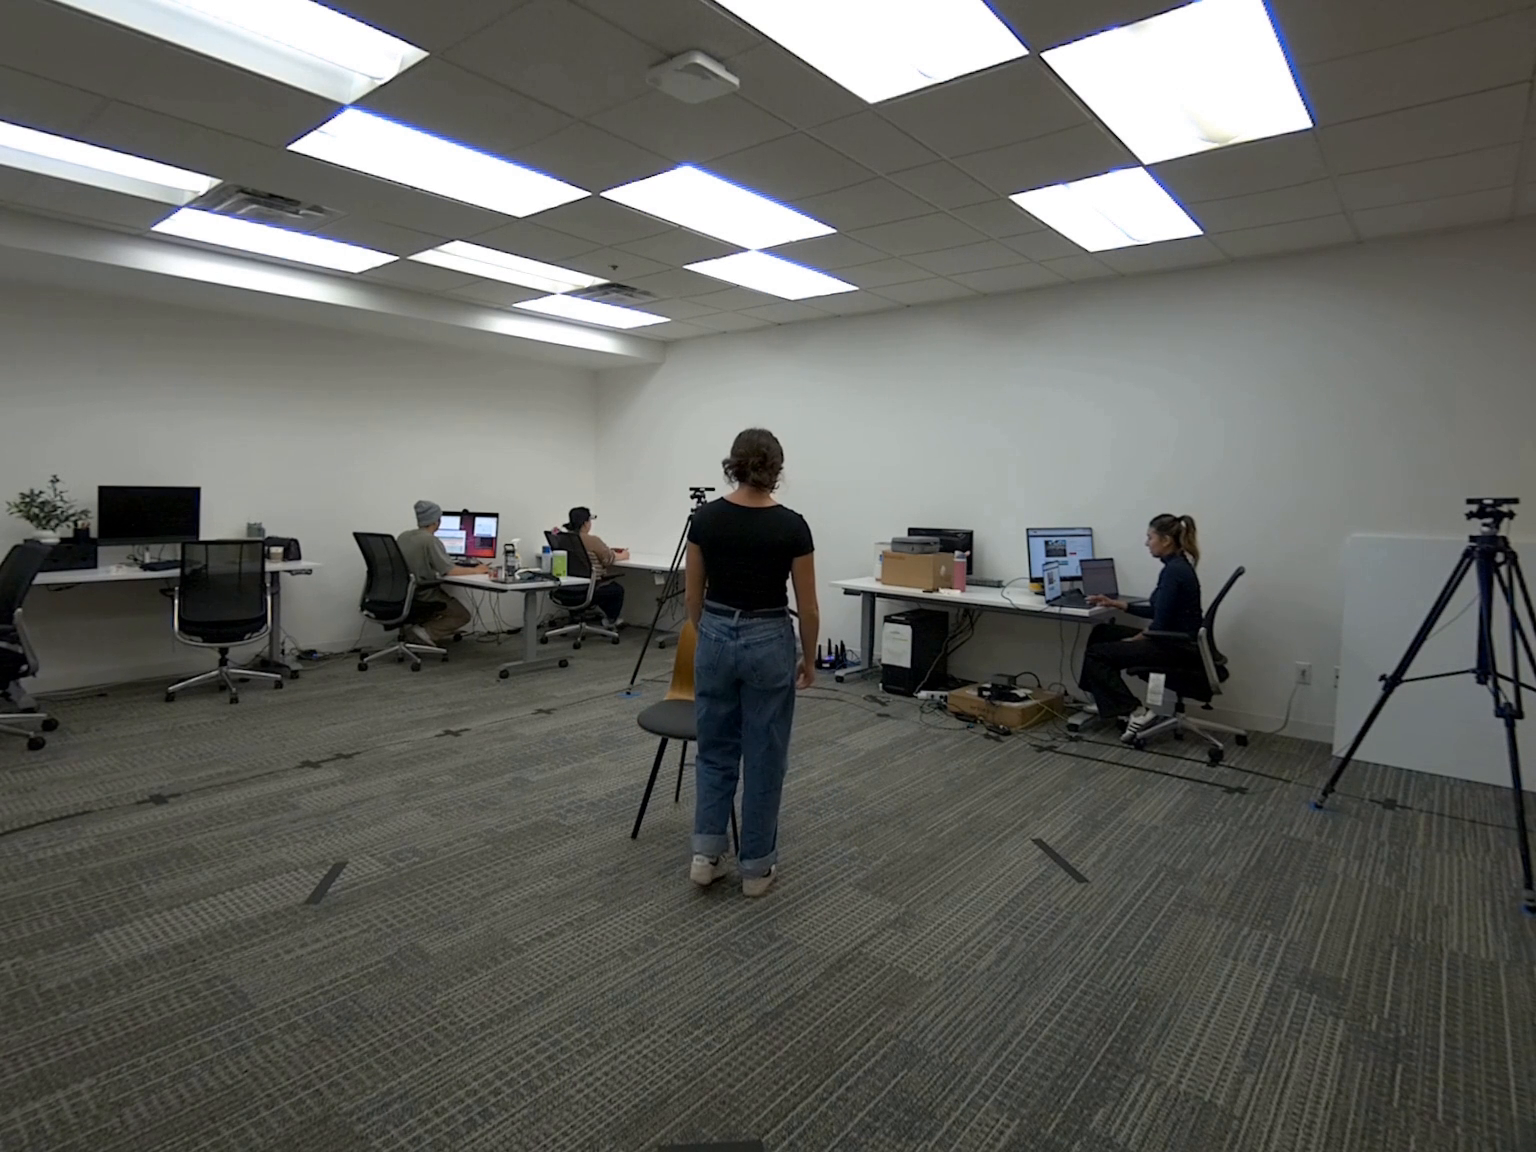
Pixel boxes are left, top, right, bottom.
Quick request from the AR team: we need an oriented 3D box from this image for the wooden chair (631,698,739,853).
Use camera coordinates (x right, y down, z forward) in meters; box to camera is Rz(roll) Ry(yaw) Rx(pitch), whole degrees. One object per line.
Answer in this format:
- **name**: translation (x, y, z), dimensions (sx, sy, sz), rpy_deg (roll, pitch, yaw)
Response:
- **wooden chair**: translation (-0.265, 0.600, 3.458), dimensions (0.488, 0.878, 0.512), rpy_deg (2, -1, 19)
